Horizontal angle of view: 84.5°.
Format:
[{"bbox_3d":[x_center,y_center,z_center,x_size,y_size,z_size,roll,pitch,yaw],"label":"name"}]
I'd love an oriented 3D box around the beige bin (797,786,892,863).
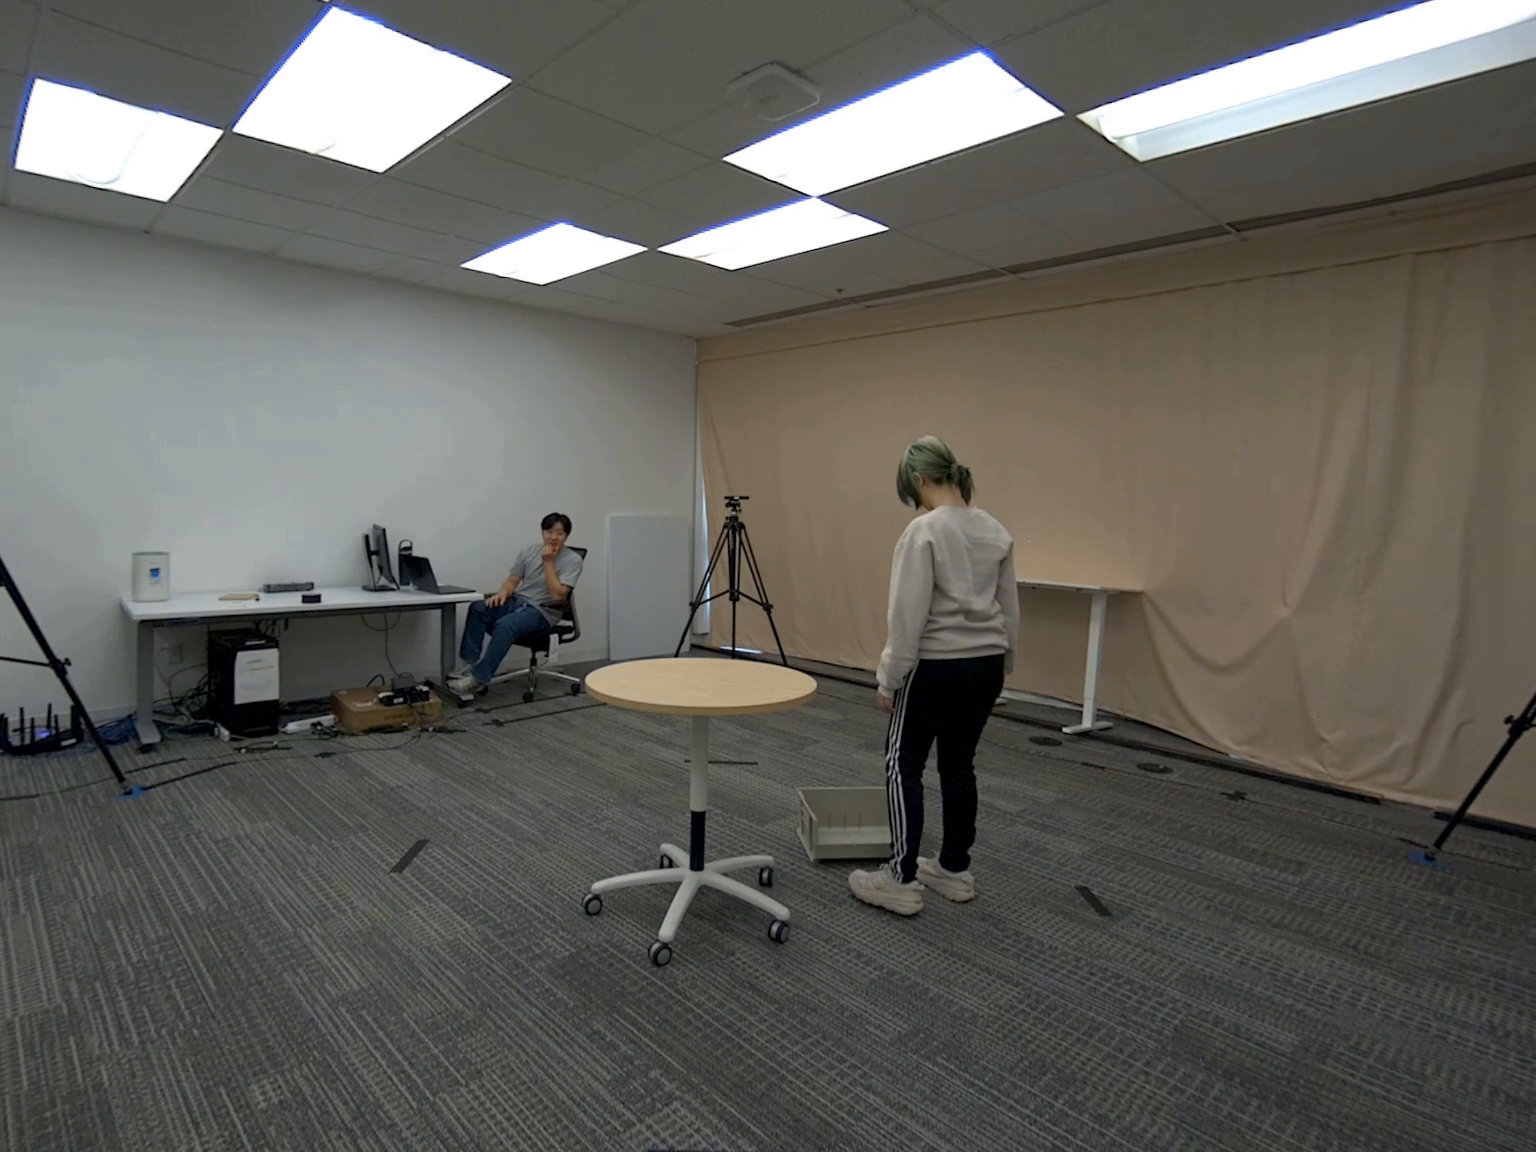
[{"bbox_3d":[0.348,1.004,3.386,0.420,0.188,0.381,0,4,-8],"label":"beige bin"}]
